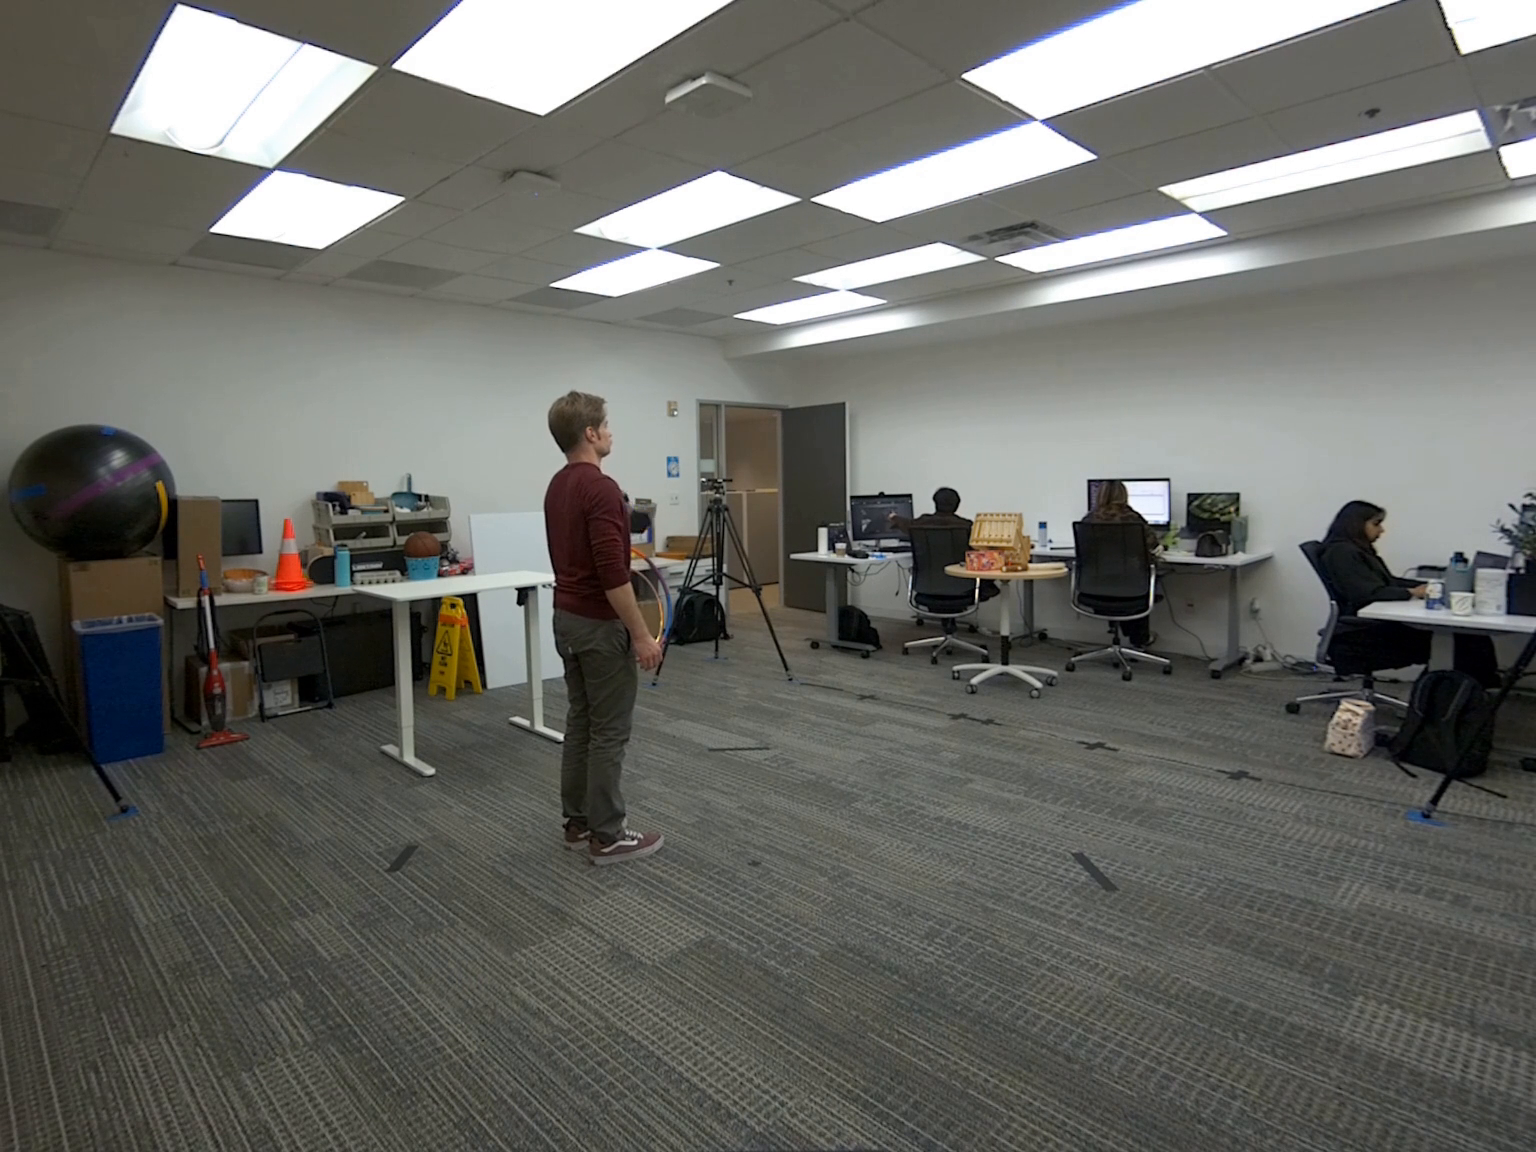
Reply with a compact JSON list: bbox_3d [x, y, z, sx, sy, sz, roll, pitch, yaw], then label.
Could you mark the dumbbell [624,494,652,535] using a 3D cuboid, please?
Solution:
[{"bbox_3d":[-0.605,-0.257,3.572,0.120,0.107,0.305,1,22,-33],"label":"dumbbell"}]
